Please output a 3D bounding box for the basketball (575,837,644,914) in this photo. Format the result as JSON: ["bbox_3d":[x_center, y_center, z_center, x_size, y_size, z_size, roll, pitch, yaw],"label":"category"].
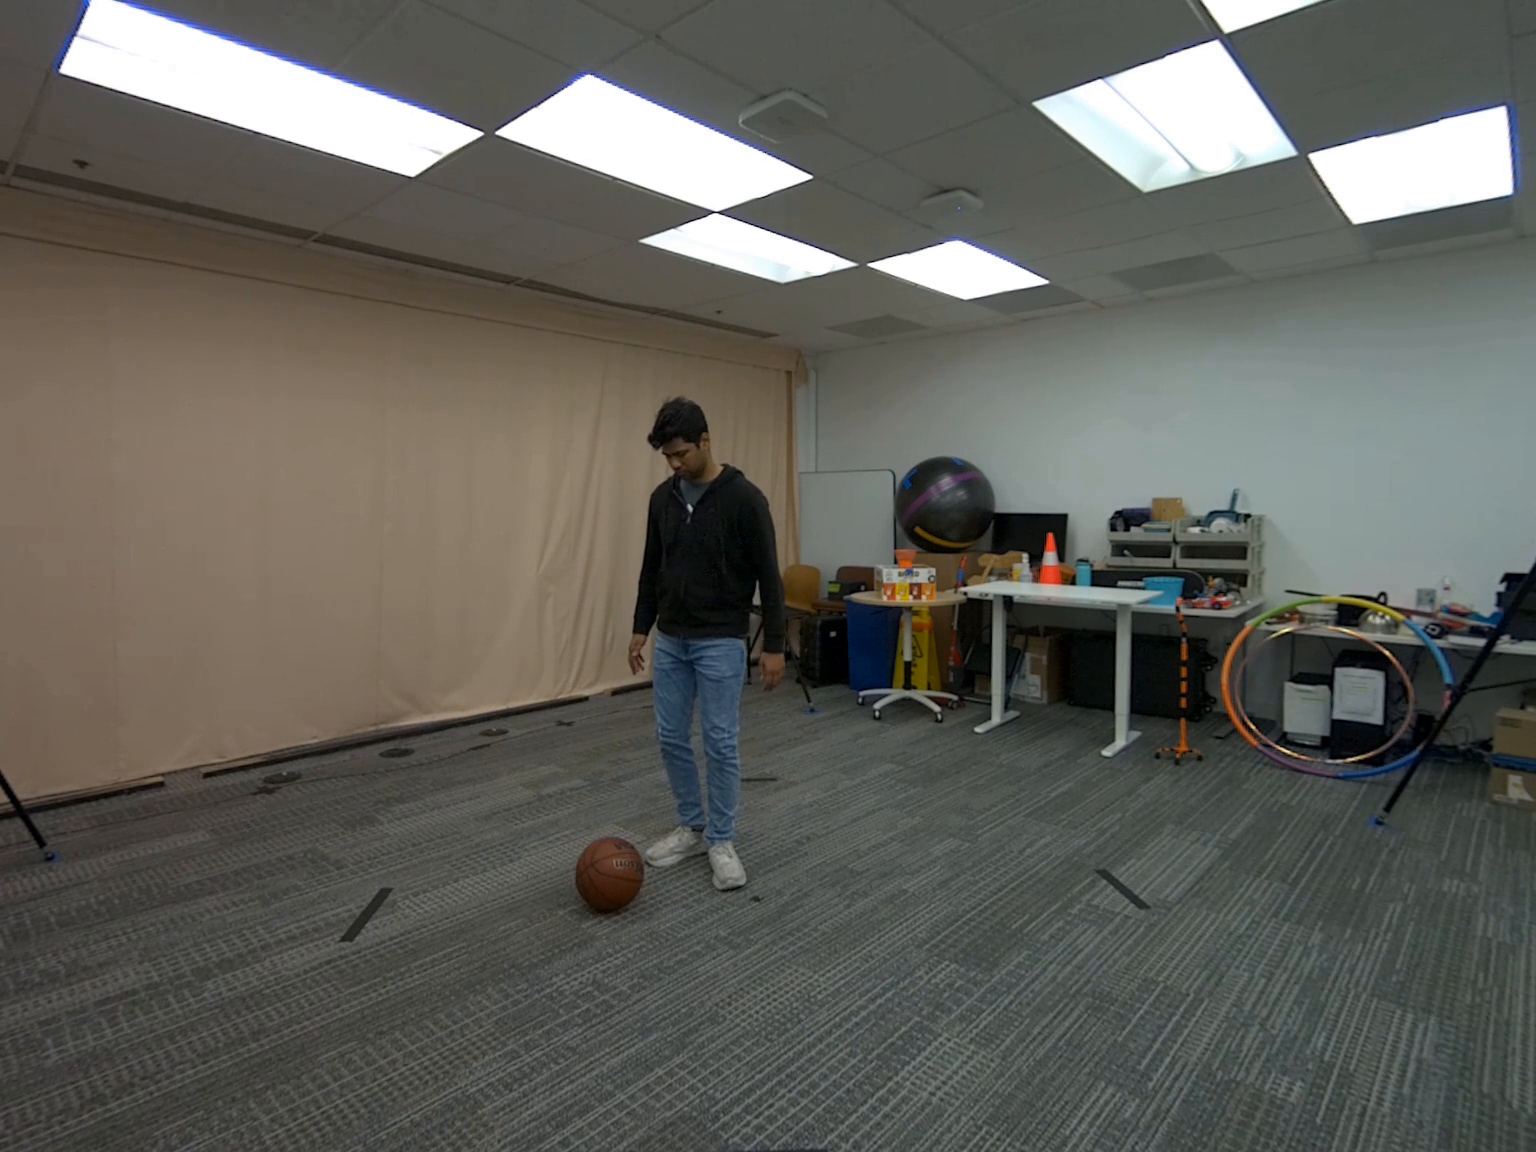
[{"bbox_3d":[-0.551,1.032,2.921,0.236,0.235,0.237,0,4,-2],"label":"basketball"}]
